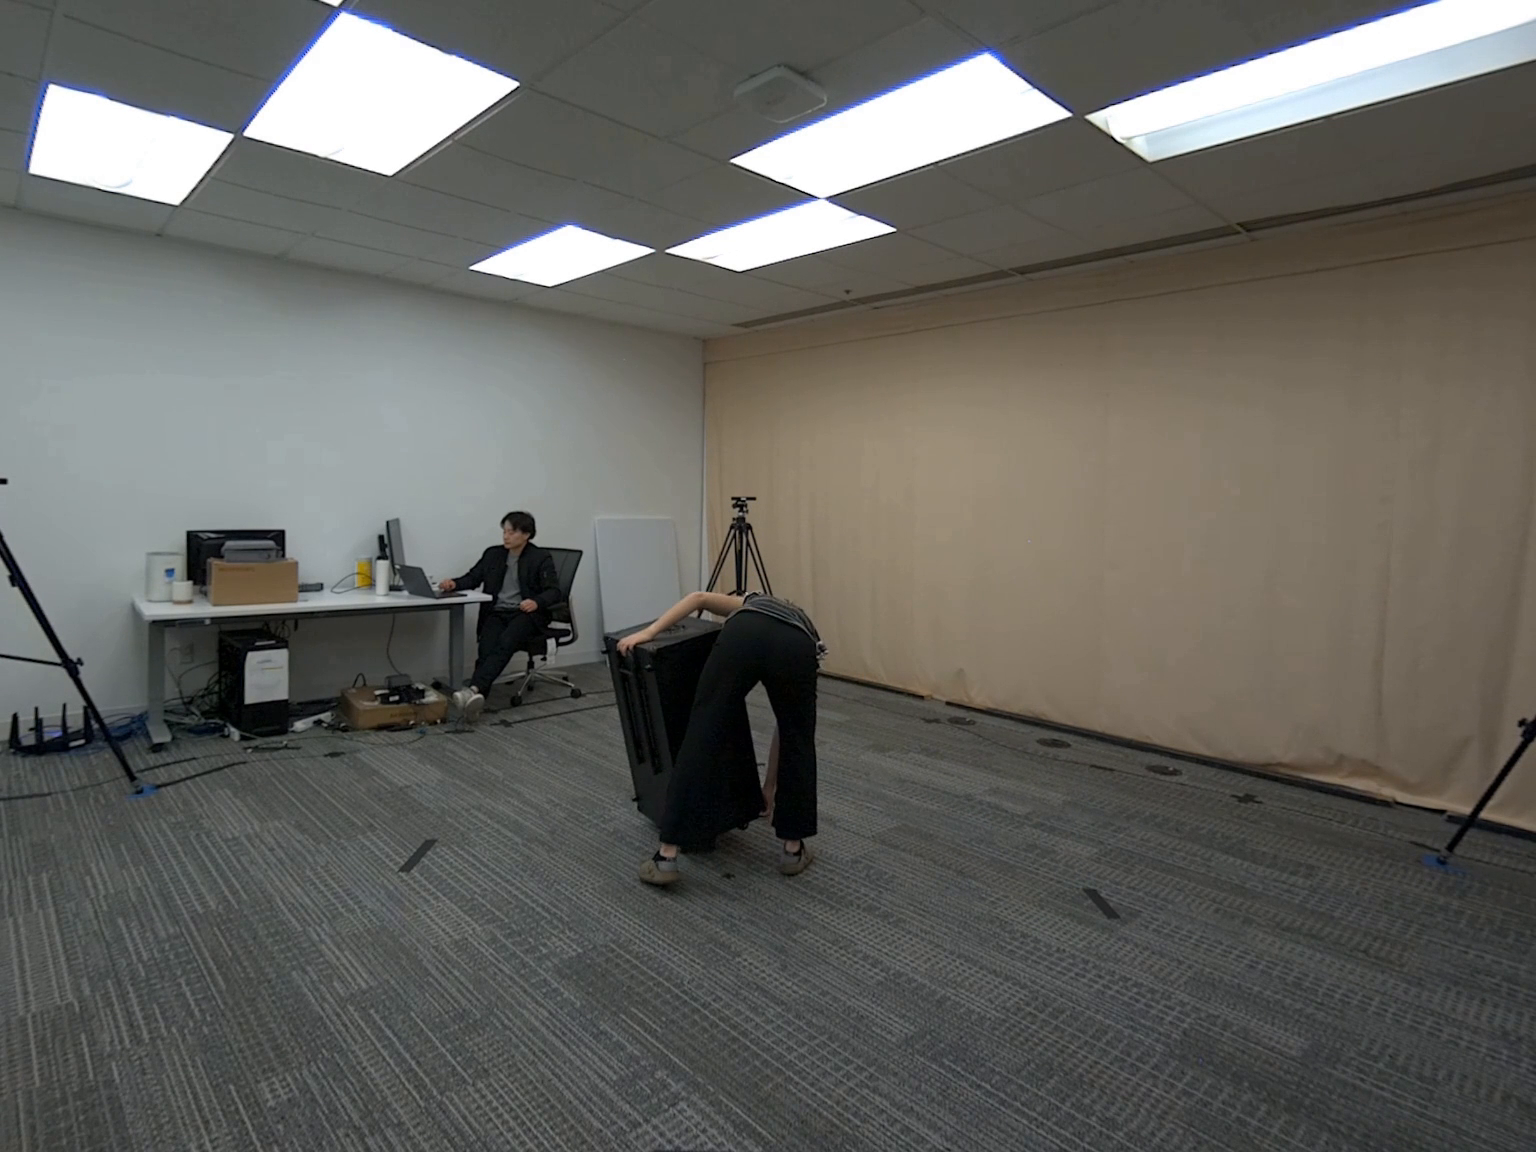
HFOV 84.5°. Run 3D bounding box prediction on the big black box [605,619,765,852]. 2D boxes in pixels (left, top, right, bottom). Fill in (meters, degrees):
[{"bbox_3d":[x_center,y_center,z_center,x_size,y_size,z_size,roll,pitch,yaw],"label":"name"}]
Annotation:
[{"bbox_3d":[-0.358,0.628,3.413,0.390,0.856,0.532,-14,9,-29],"label":"big black box"}]
